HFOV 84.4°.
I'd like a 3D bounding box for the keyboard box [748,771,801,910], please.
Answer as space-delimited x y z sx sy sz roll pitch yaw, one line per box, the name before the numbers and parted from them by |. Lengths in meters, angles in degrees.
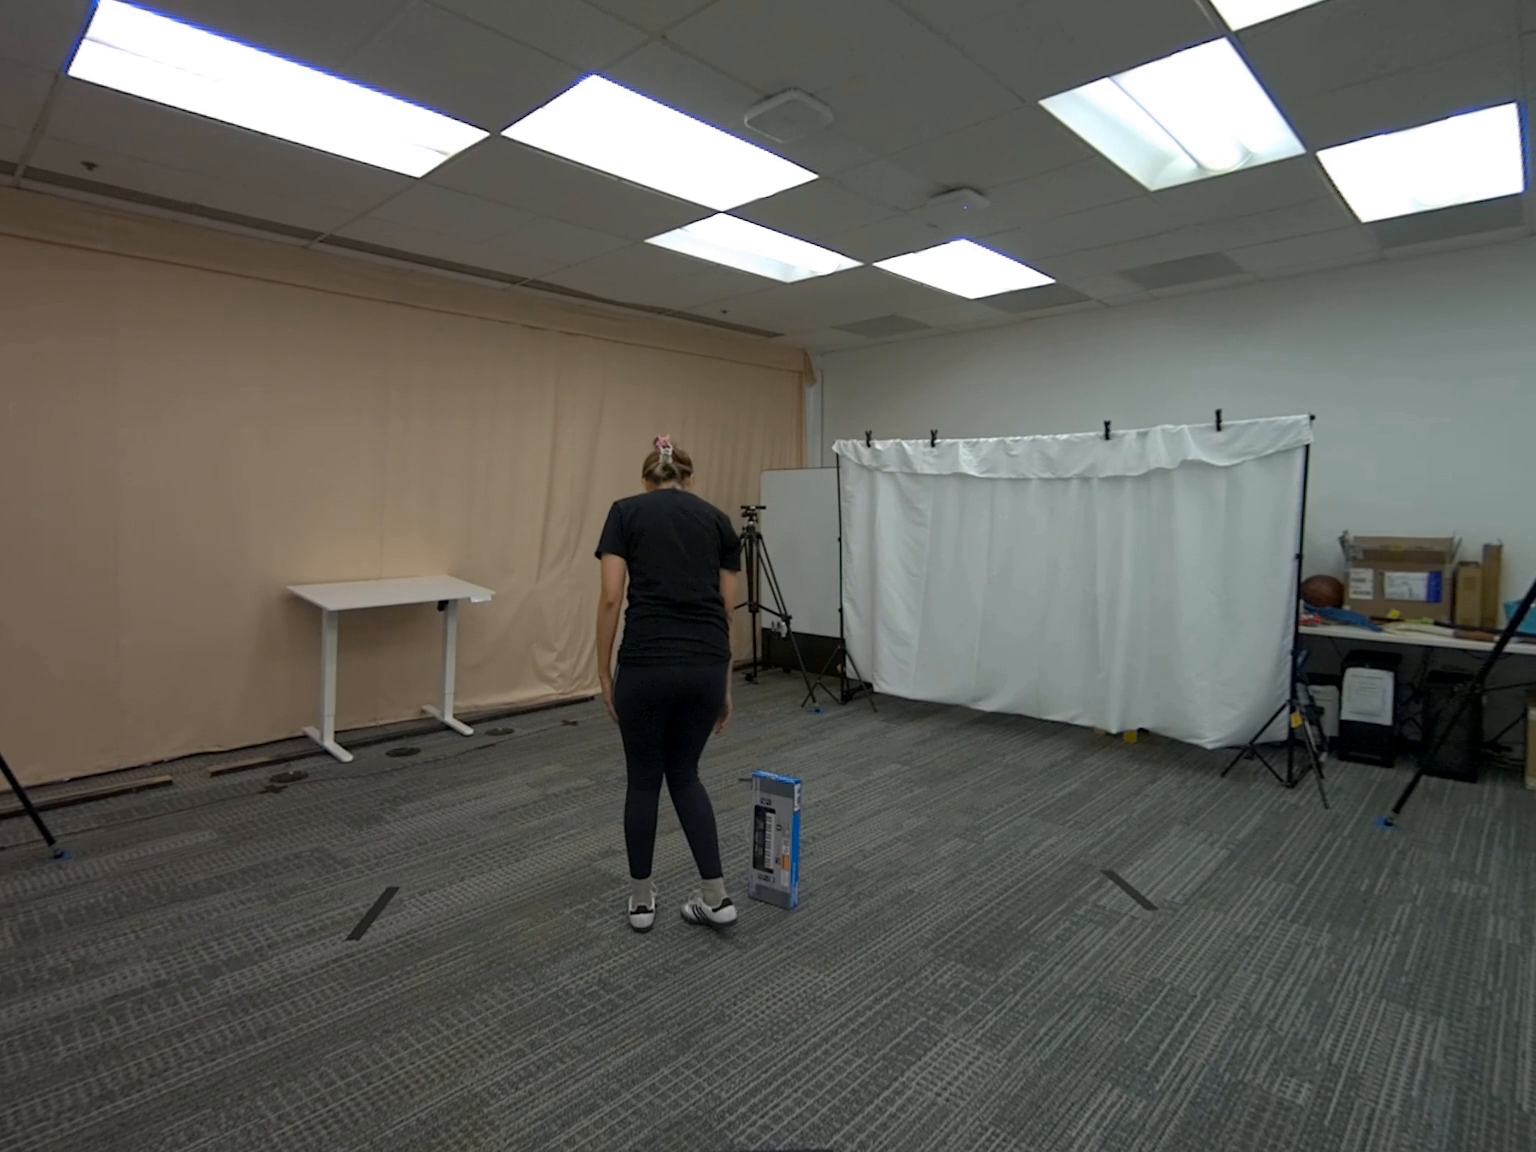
keyboard box | 0.028 0.926 2.964 0.181 0.437 0.057 2 0 32
